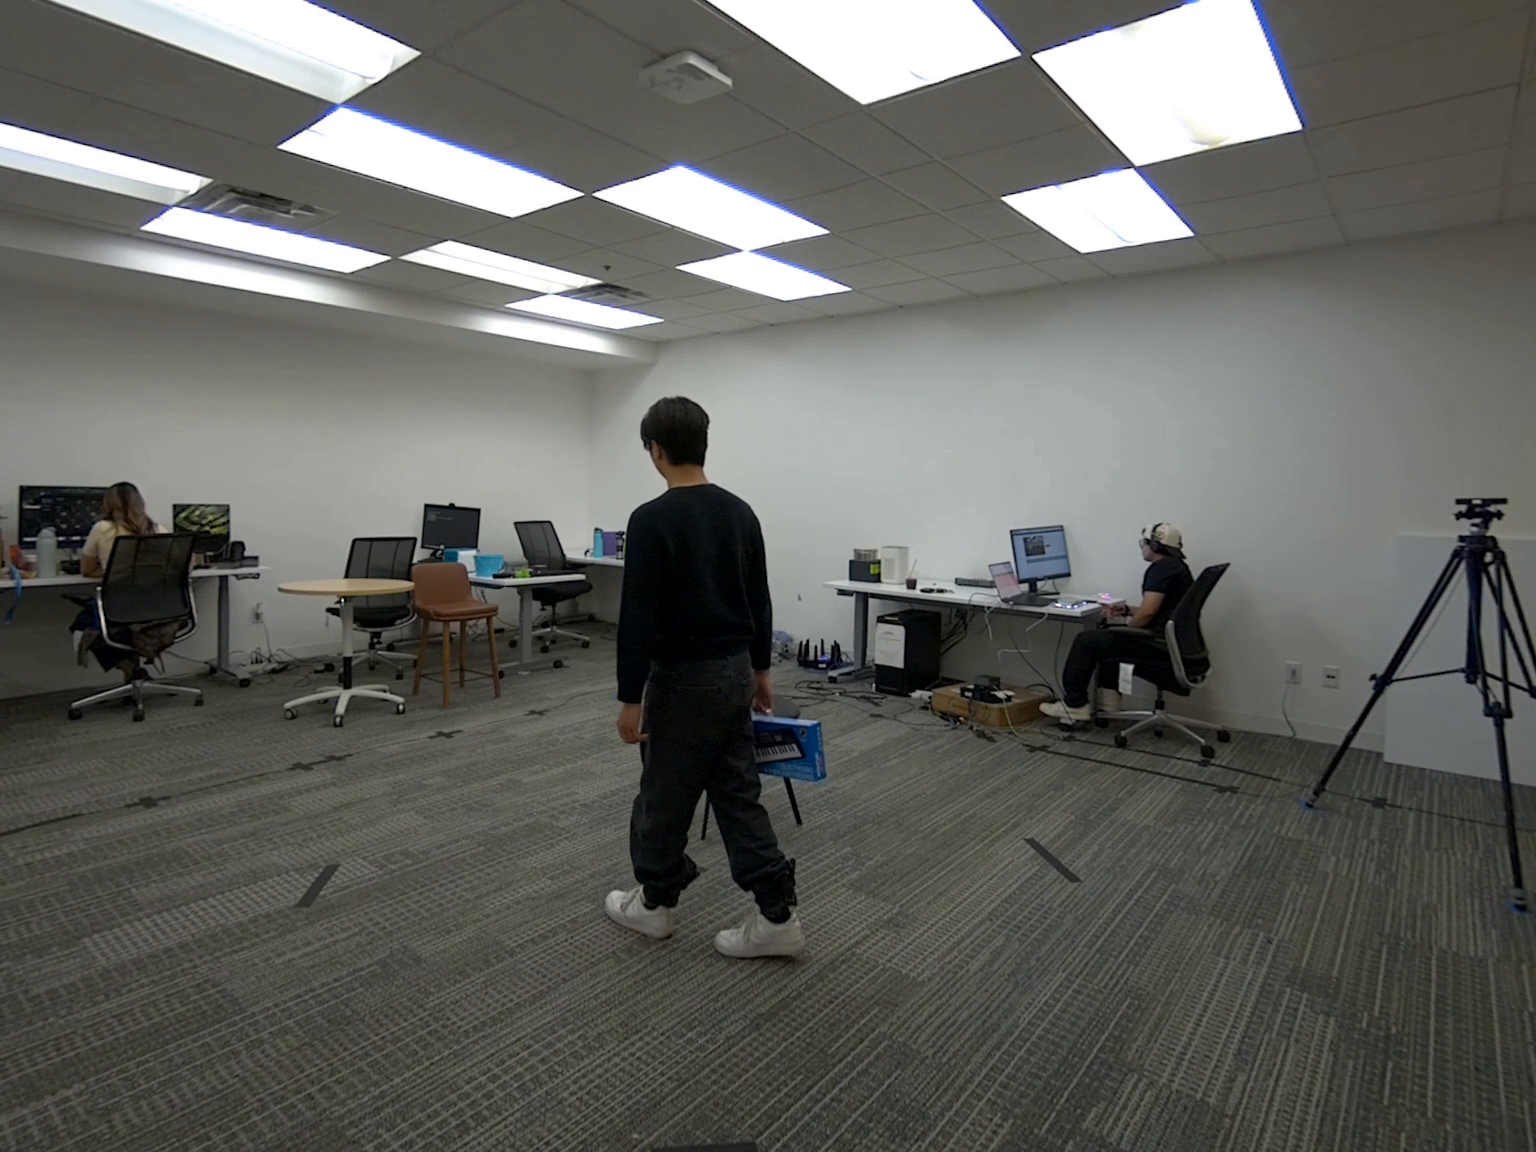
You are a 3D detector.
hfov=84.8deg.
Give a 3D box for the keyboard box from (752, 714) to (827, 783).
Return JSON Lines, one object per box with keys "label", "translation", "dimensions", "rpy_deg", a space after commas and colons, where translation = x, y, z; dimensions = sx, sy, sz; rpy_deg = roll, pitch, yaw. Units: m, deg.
{"label": "keyboard box", "translation": [-0.021, 0.545, 2.741], "dimensions": [0.449, 0.176, 0.057], "rpy_deg": [-4, 0, 43]}
